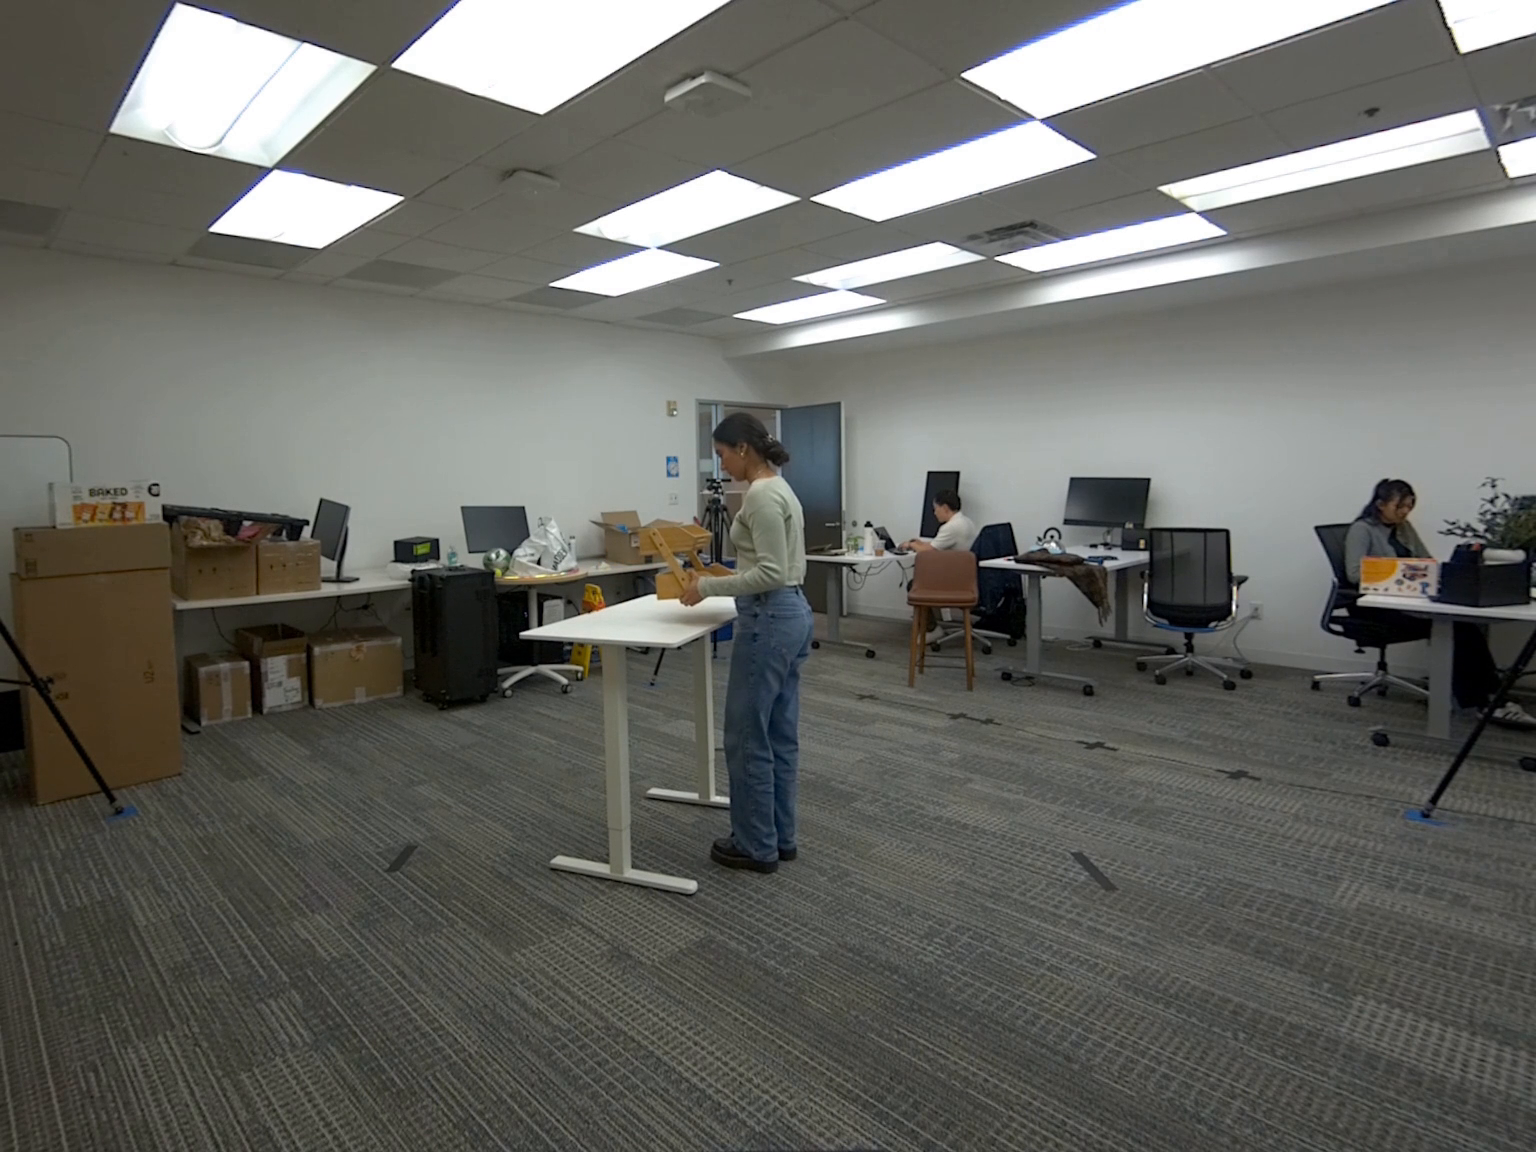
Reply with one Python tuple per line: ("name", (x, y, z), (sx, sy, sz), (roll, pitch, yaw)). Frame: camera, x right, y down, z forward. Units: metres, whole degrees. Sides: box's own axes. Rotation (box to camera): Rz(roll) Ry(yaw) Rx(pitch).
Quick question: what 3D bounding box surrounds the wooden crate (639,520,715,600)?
("wooden crate", (-0.284, -0.064, 3.175), (0.305, 0.273, 0.322), (-5, 3, 11))
